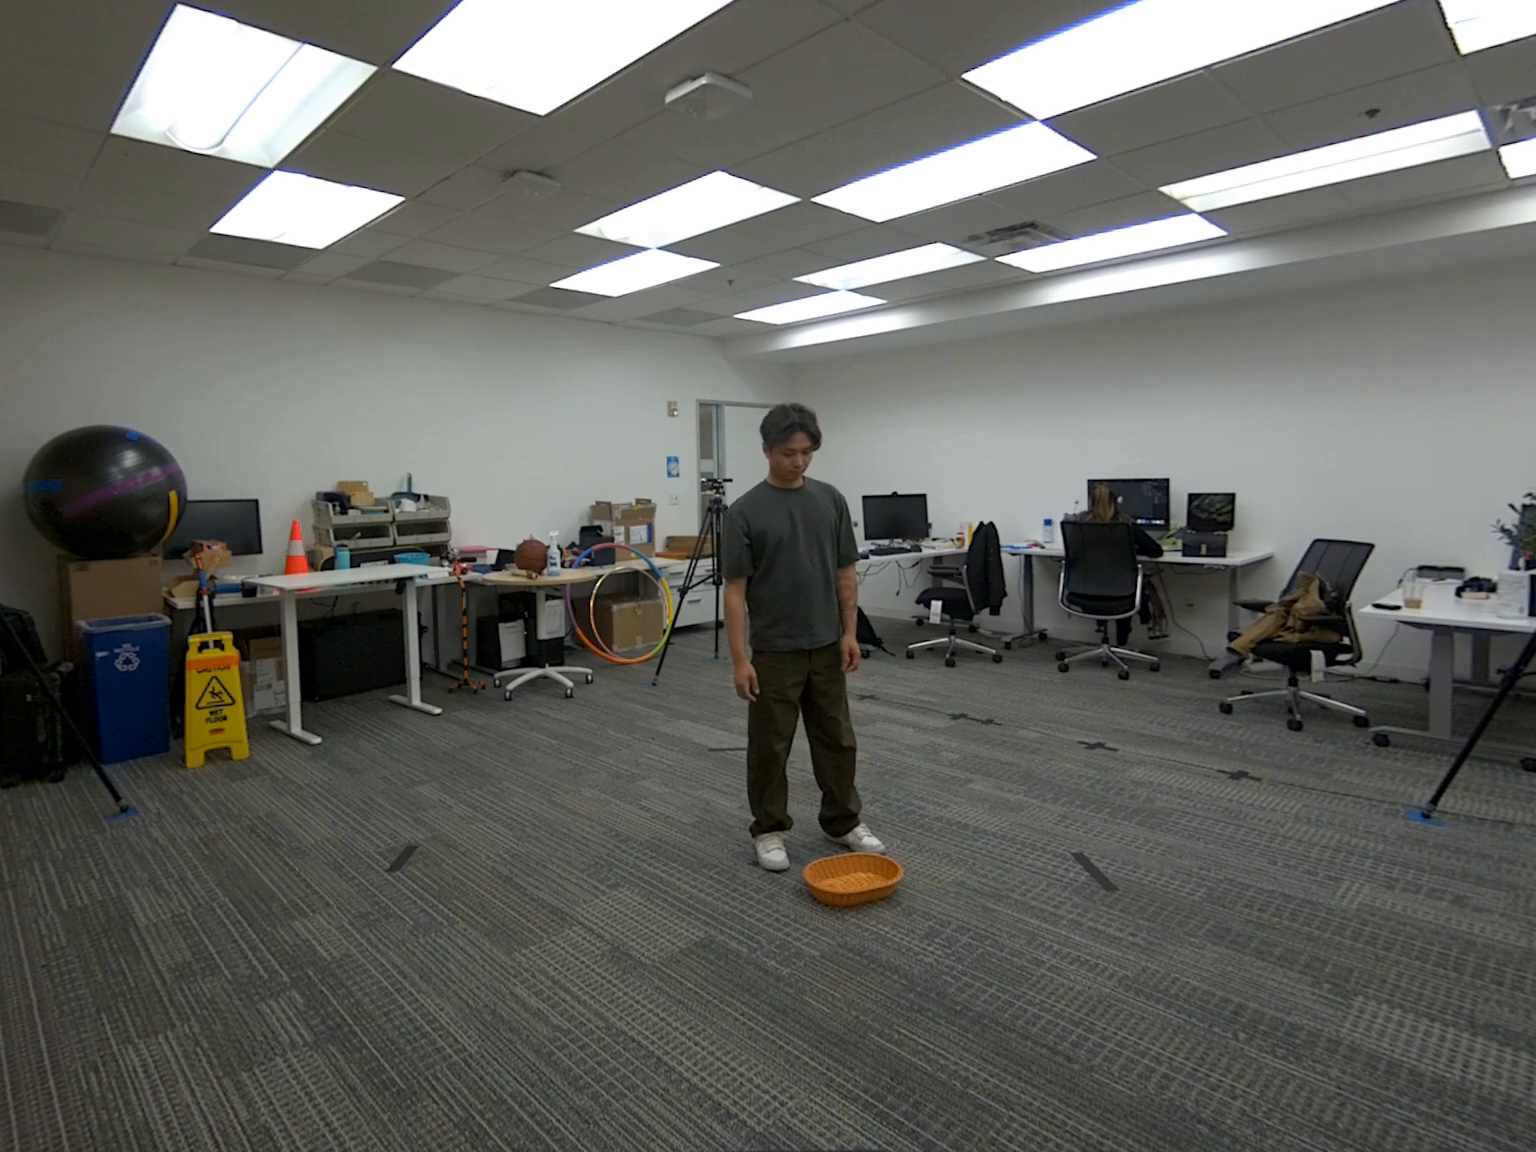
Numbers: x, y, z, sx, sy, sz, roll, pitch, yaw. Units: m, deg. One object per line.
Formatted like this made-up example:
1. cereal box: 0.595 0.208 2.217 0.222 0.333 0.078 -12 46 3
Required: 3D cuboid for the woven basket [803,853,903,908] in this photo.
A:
1. woven basket: 0.286 1.027 2.881 0.344 0.073 0.258 -3 7 -21
